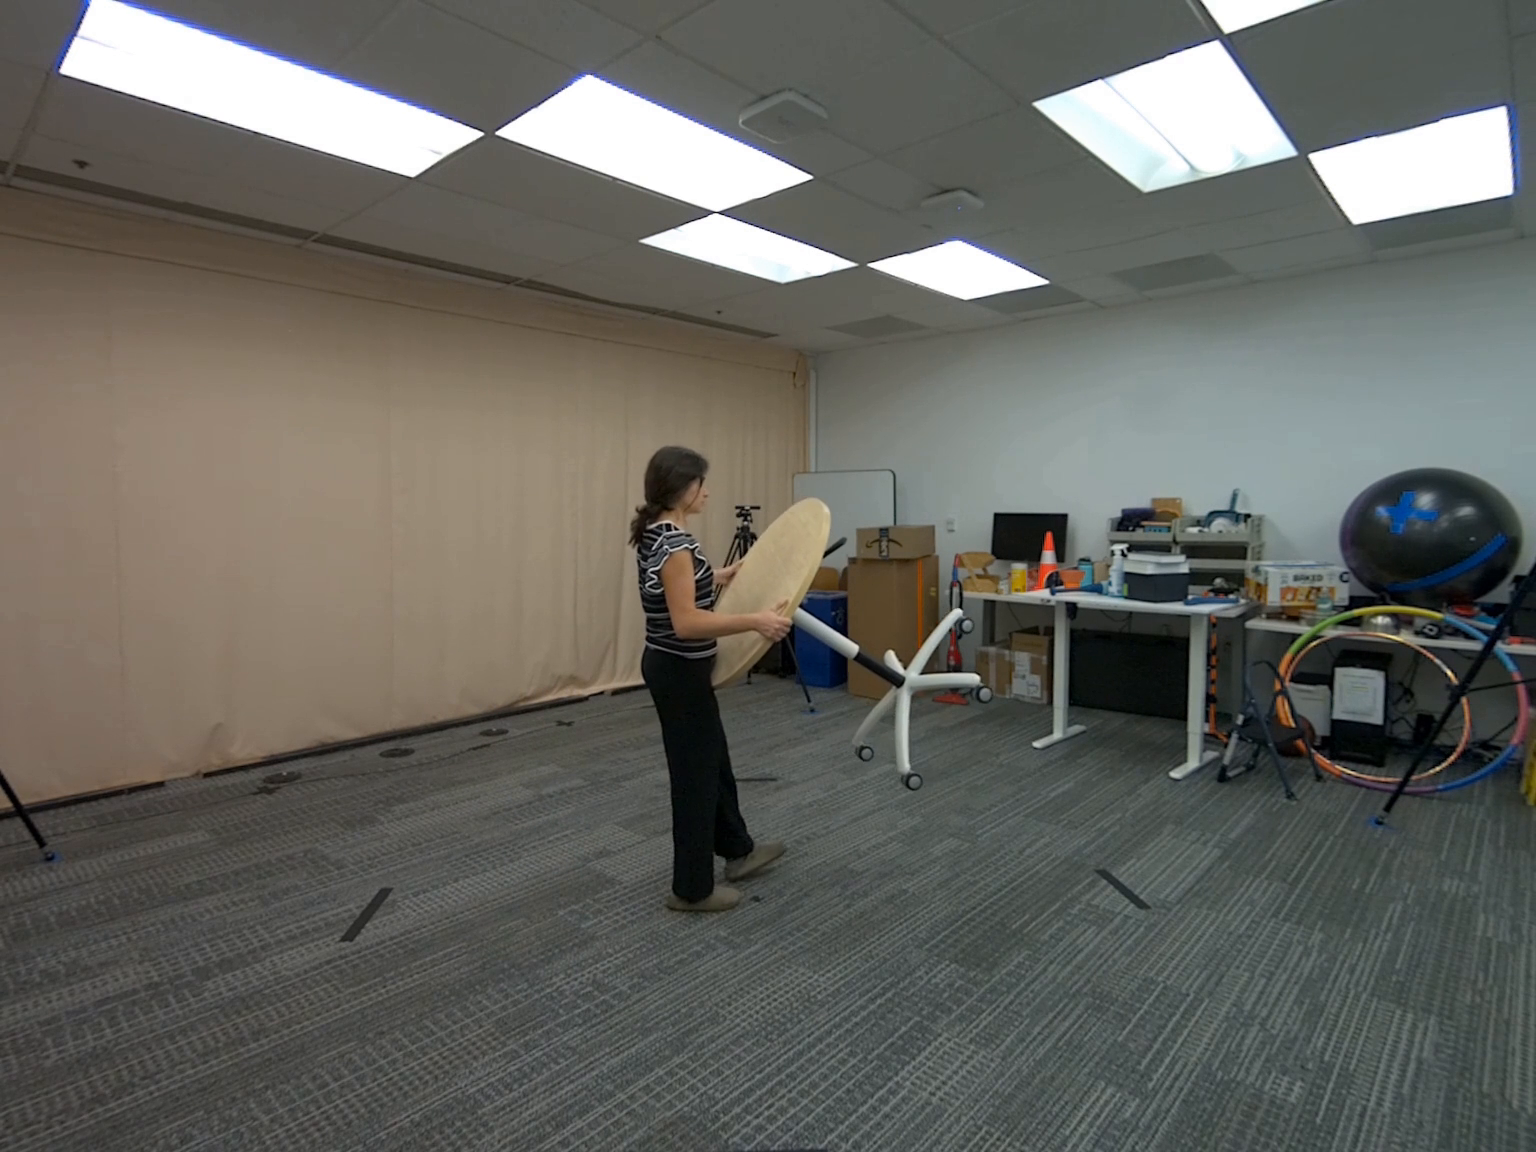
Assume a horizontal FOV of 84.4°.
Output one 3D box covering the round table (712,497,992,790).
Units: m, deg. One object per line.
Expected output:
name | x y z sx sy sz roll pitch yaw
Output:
round table | 0.286 0.263 3.042 0.781 0.763 0.777 33 -5 -15
